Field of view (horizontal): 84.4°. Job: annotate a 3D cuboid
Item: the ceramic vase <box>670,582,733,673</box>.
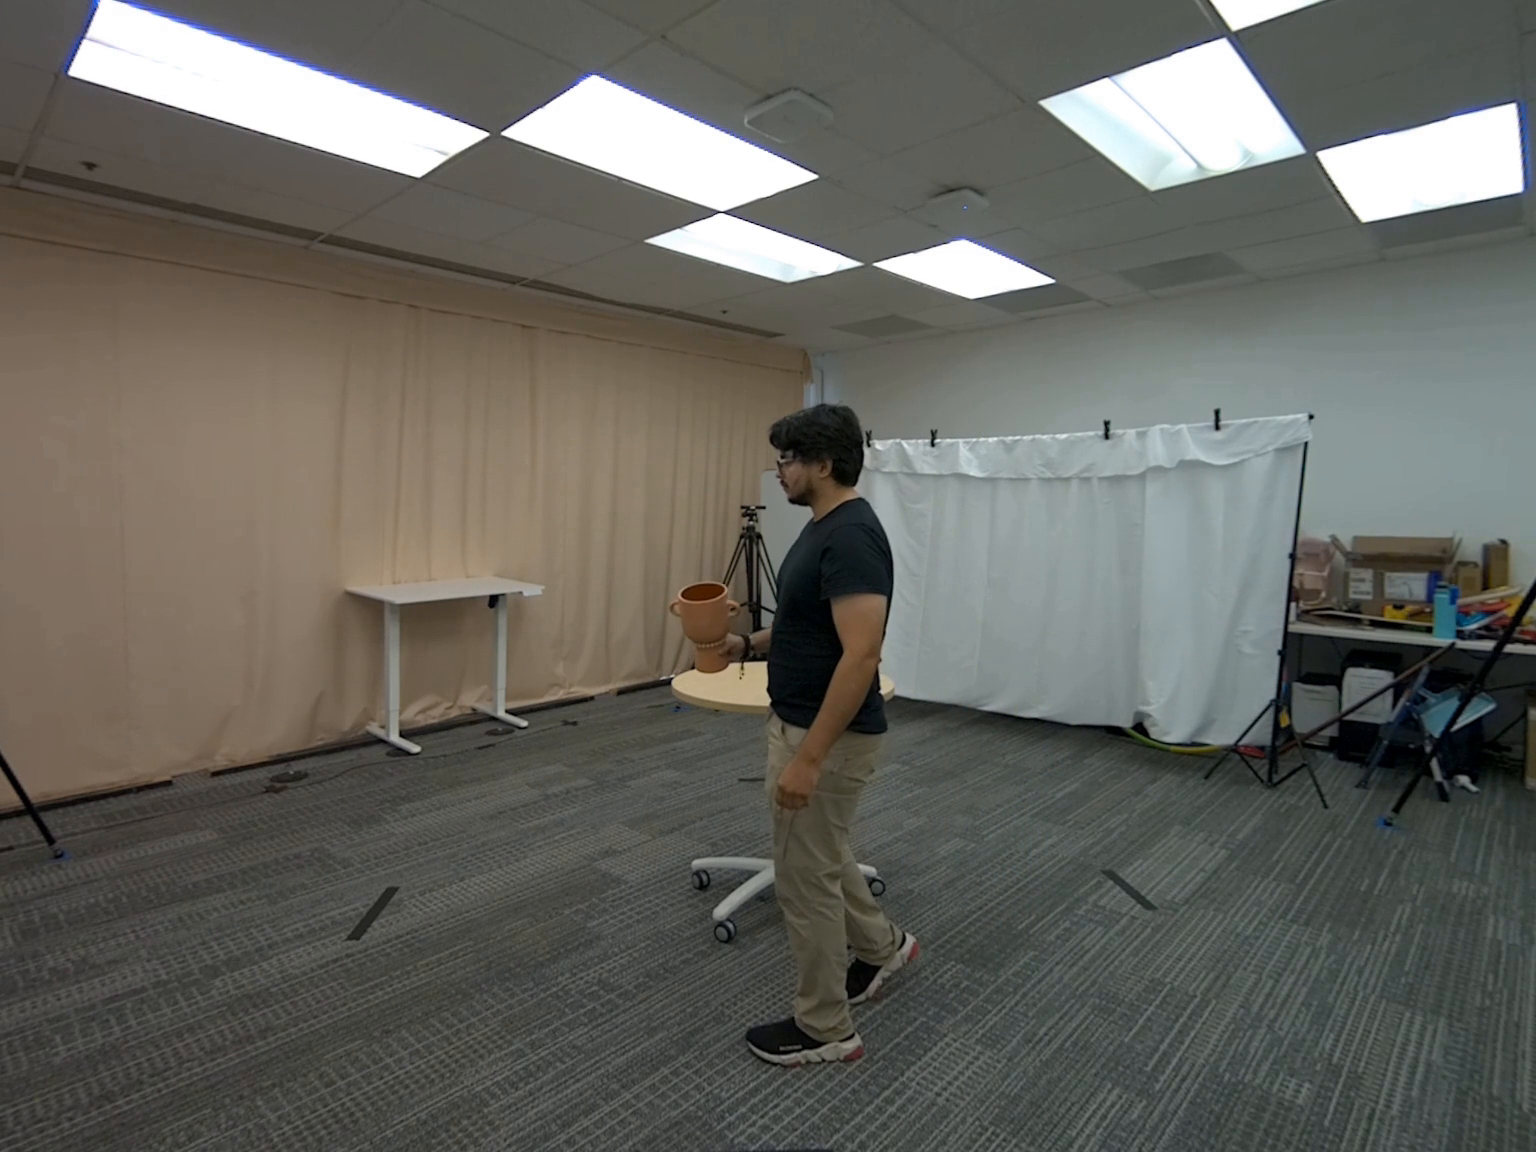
[{"bbox_3d":[-0.156,0.144,2.267,0.132,0.216,0.164,-21,25,-30],"label":"ceramic vase"}]
